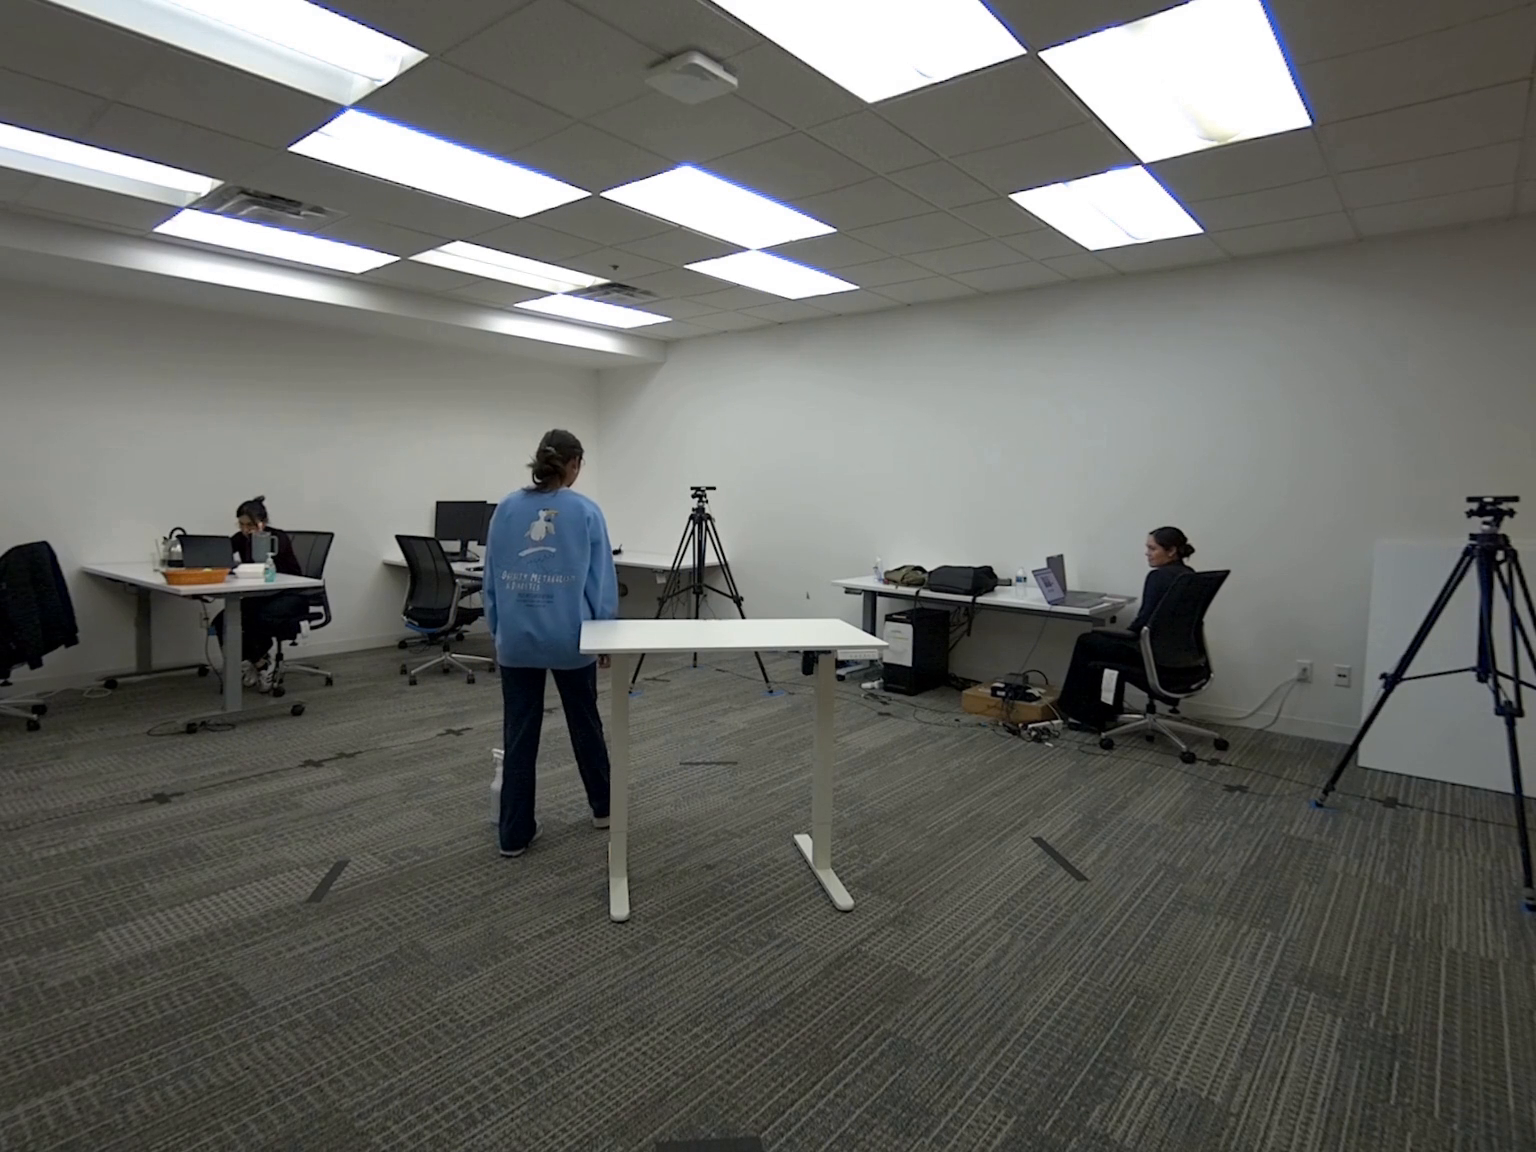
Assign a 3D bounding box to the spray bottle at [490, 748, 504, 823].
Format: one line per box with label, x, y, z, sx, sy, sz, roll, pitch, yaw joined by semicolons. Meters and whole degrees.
spray bottle;-1.110;0.864;3.492;0.084;0.296;0.093;-3;5;-36
